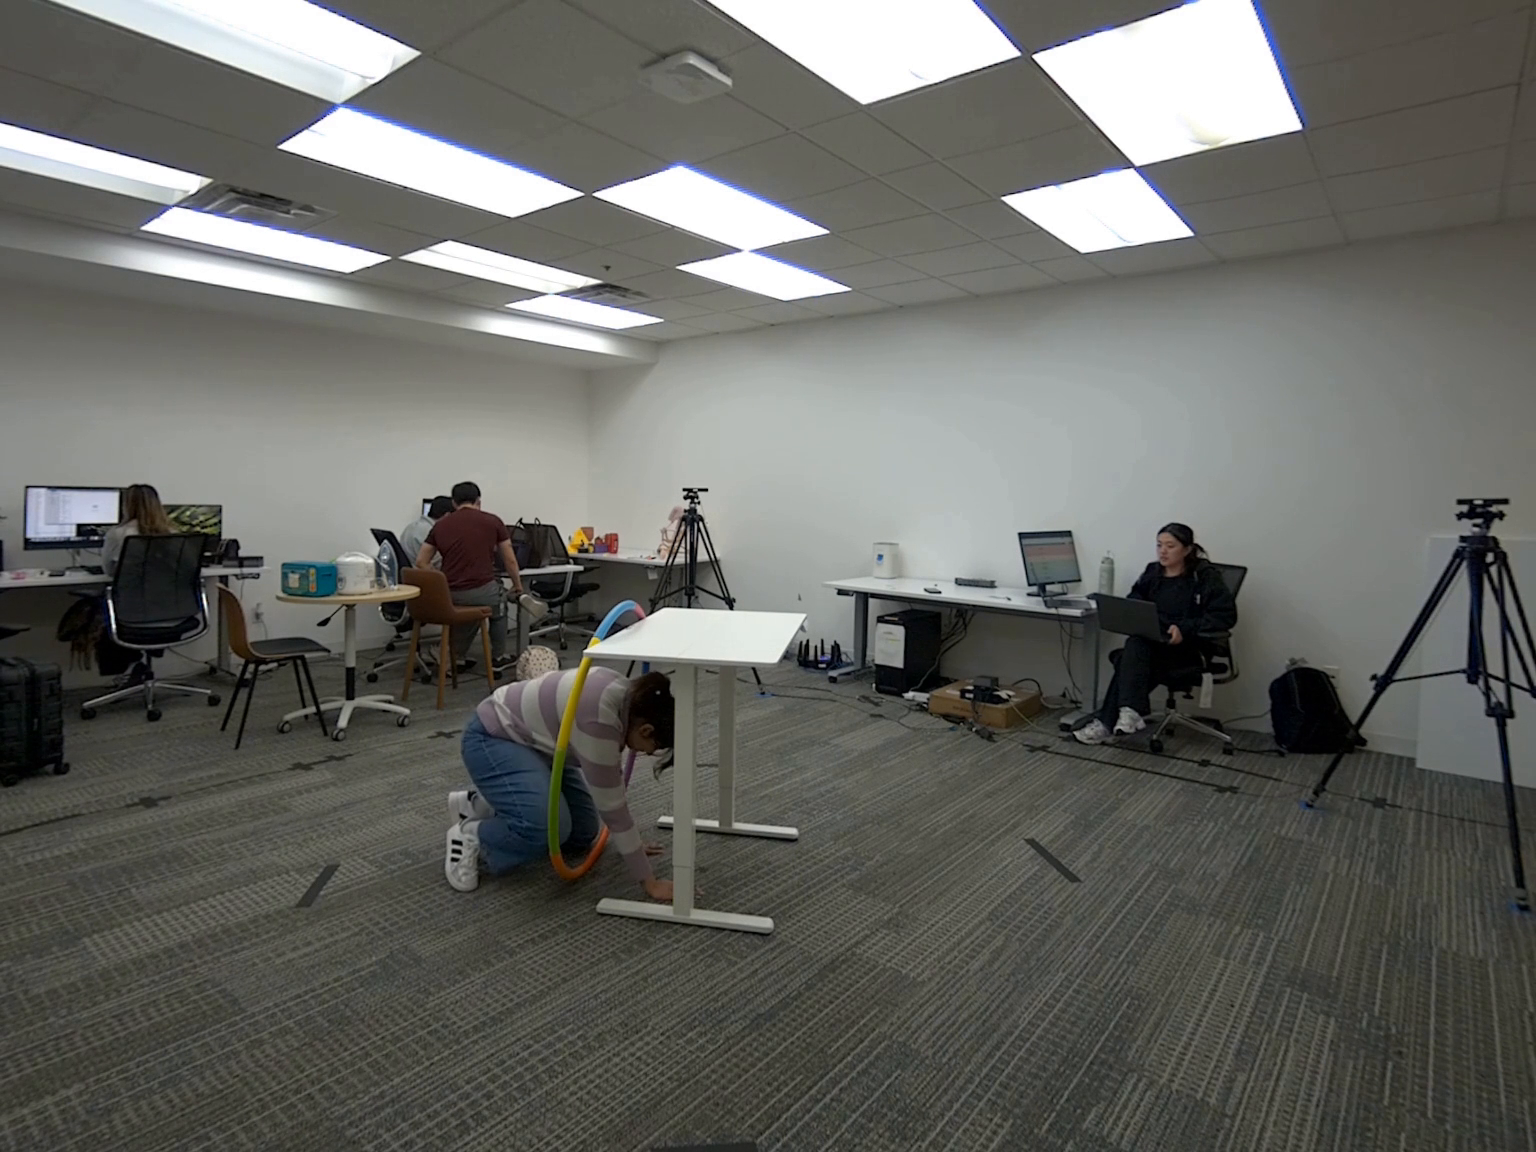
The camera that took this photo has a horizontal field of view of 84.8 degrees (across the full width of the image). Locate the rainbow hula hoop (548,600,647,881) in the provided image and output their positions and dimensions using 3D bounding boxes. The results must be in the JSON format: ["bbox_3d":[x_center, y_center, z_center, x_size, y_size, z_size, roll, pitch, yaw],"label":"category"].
[{"bbox_3d":[-0.601,0.581,3.086,0.036,0.975,0.972,9,5,7],"label":"rainbow hula hoop"}]
